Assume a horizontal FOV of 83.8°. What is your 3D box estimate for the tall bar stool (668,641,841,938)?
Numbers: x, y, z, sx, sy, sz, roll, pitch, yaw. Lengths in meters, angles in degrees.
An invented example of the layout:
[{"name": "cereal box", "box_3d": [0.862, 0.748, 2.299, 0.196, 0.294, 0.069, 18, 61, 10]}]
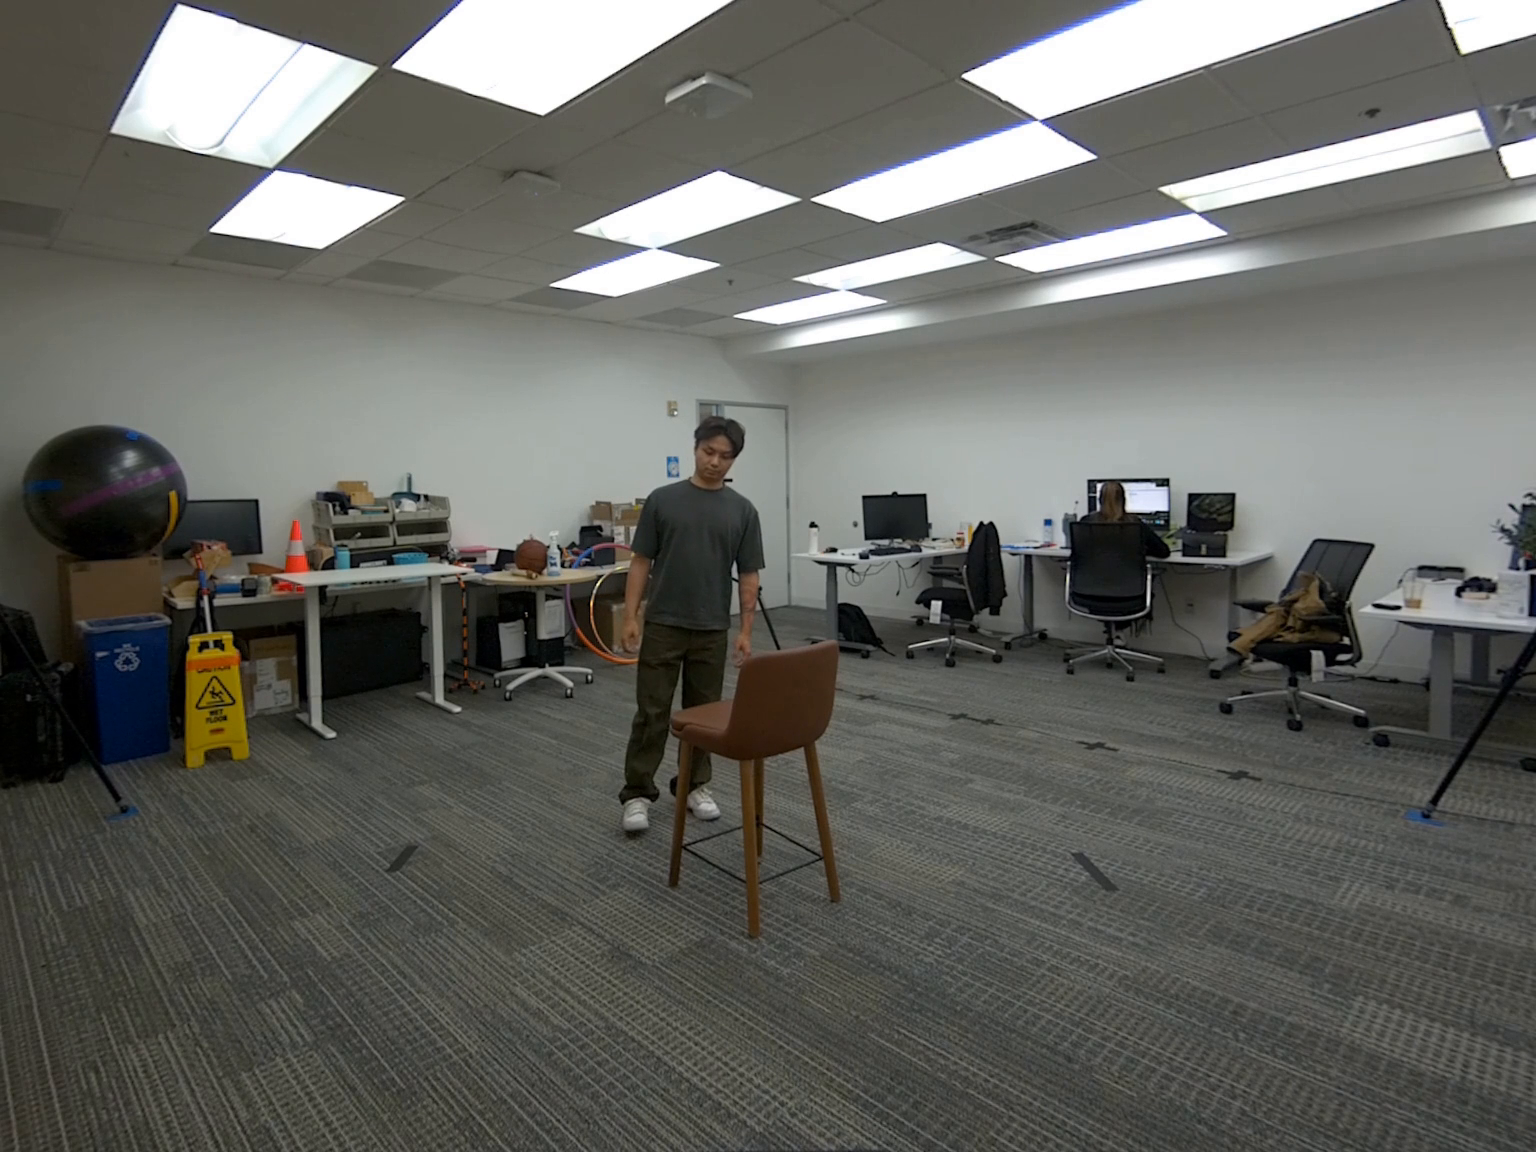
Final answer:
[{"name": "tall bar stool", "box_3d": [-0.042, 0.634, 2.861, 0.444, 0.885, 0.482, -4, 7, -39]}]
